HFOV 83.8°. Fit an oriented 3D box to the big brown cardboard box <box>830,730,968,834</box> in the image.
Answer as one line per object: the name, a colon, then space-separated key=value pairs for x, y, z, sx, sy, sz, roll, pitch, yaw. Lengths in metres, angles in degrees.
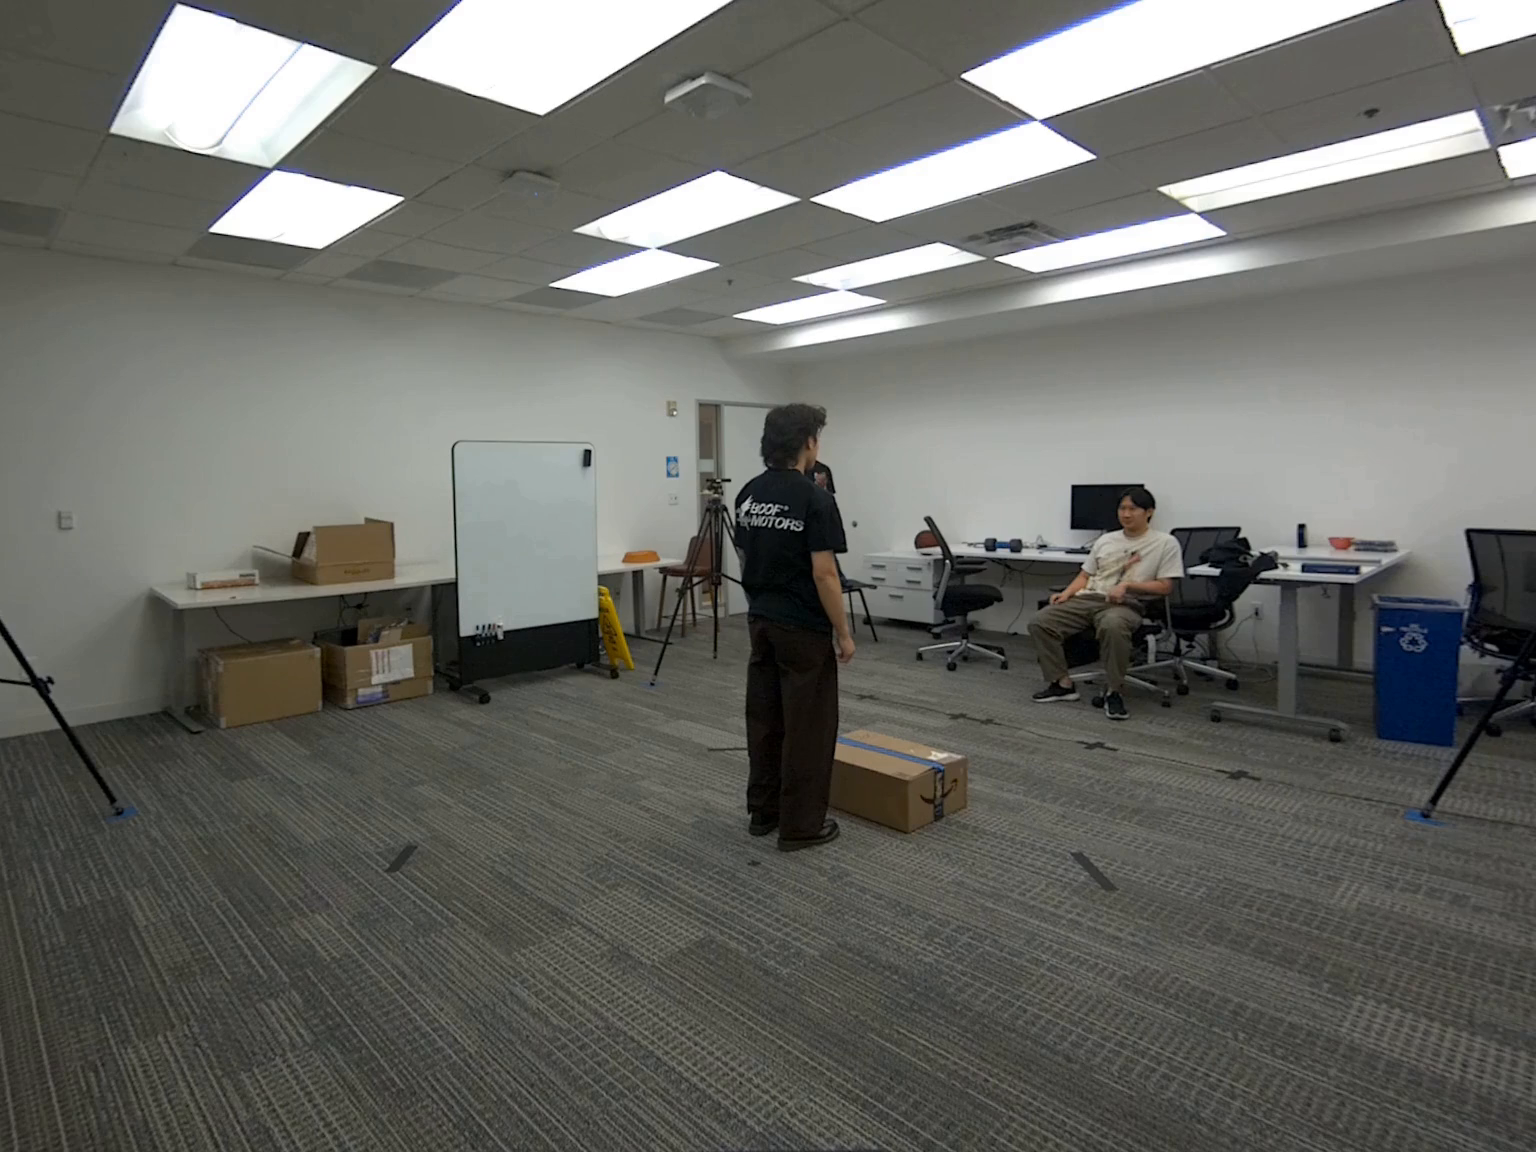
big brown cardboard box: x=0.491 y=0.857 z=3.659 sx=0.406 sy=0.232 sz=0.607 roll=-6 pitch=7 yaw=-44
